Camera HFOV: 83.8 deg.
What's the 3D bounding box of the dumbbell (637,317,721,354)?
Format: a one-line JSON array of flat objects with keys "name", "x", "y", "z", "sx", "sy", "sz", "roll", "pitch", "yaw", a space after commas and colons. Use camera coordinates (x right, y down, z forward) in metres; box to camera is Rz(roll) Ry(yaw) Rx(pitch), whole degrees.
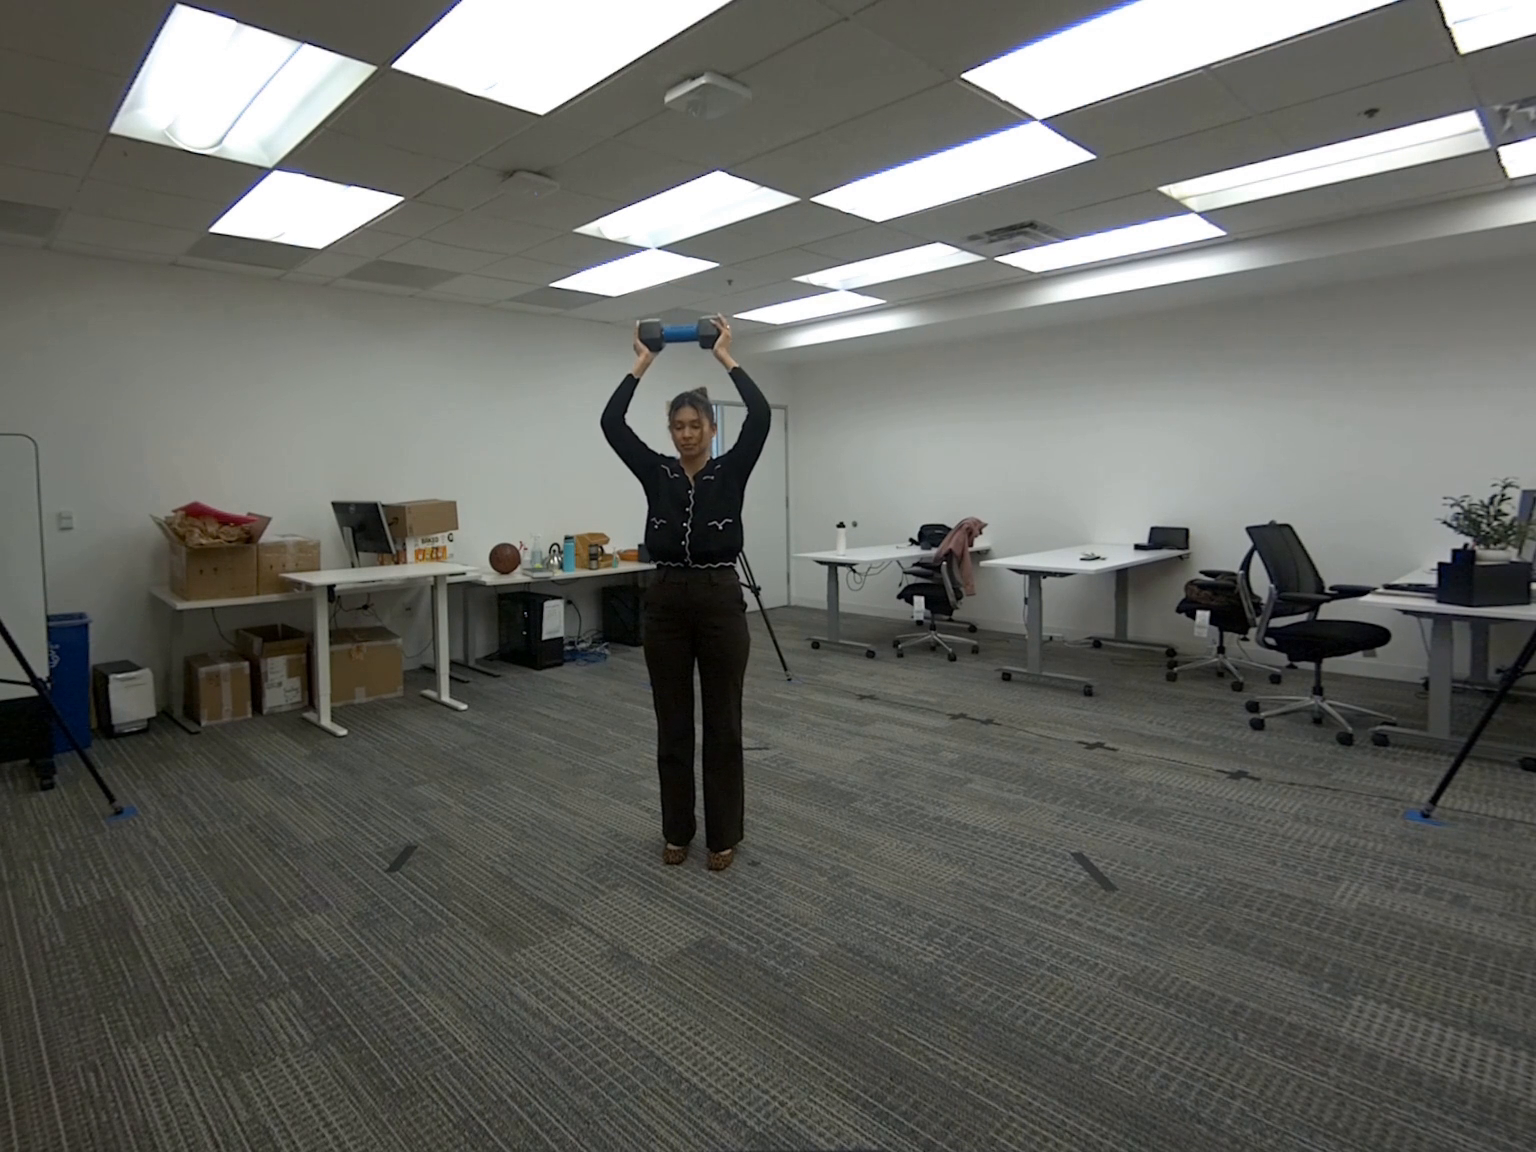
[{"name": "dumbbell", "x": -0.314, "y": -0.850, "z": 3.016, "sx": 0.296, "sy": 0.106, "sz": 0.125, "roll": -1, "pitch": 27, "yaw": 10}]
